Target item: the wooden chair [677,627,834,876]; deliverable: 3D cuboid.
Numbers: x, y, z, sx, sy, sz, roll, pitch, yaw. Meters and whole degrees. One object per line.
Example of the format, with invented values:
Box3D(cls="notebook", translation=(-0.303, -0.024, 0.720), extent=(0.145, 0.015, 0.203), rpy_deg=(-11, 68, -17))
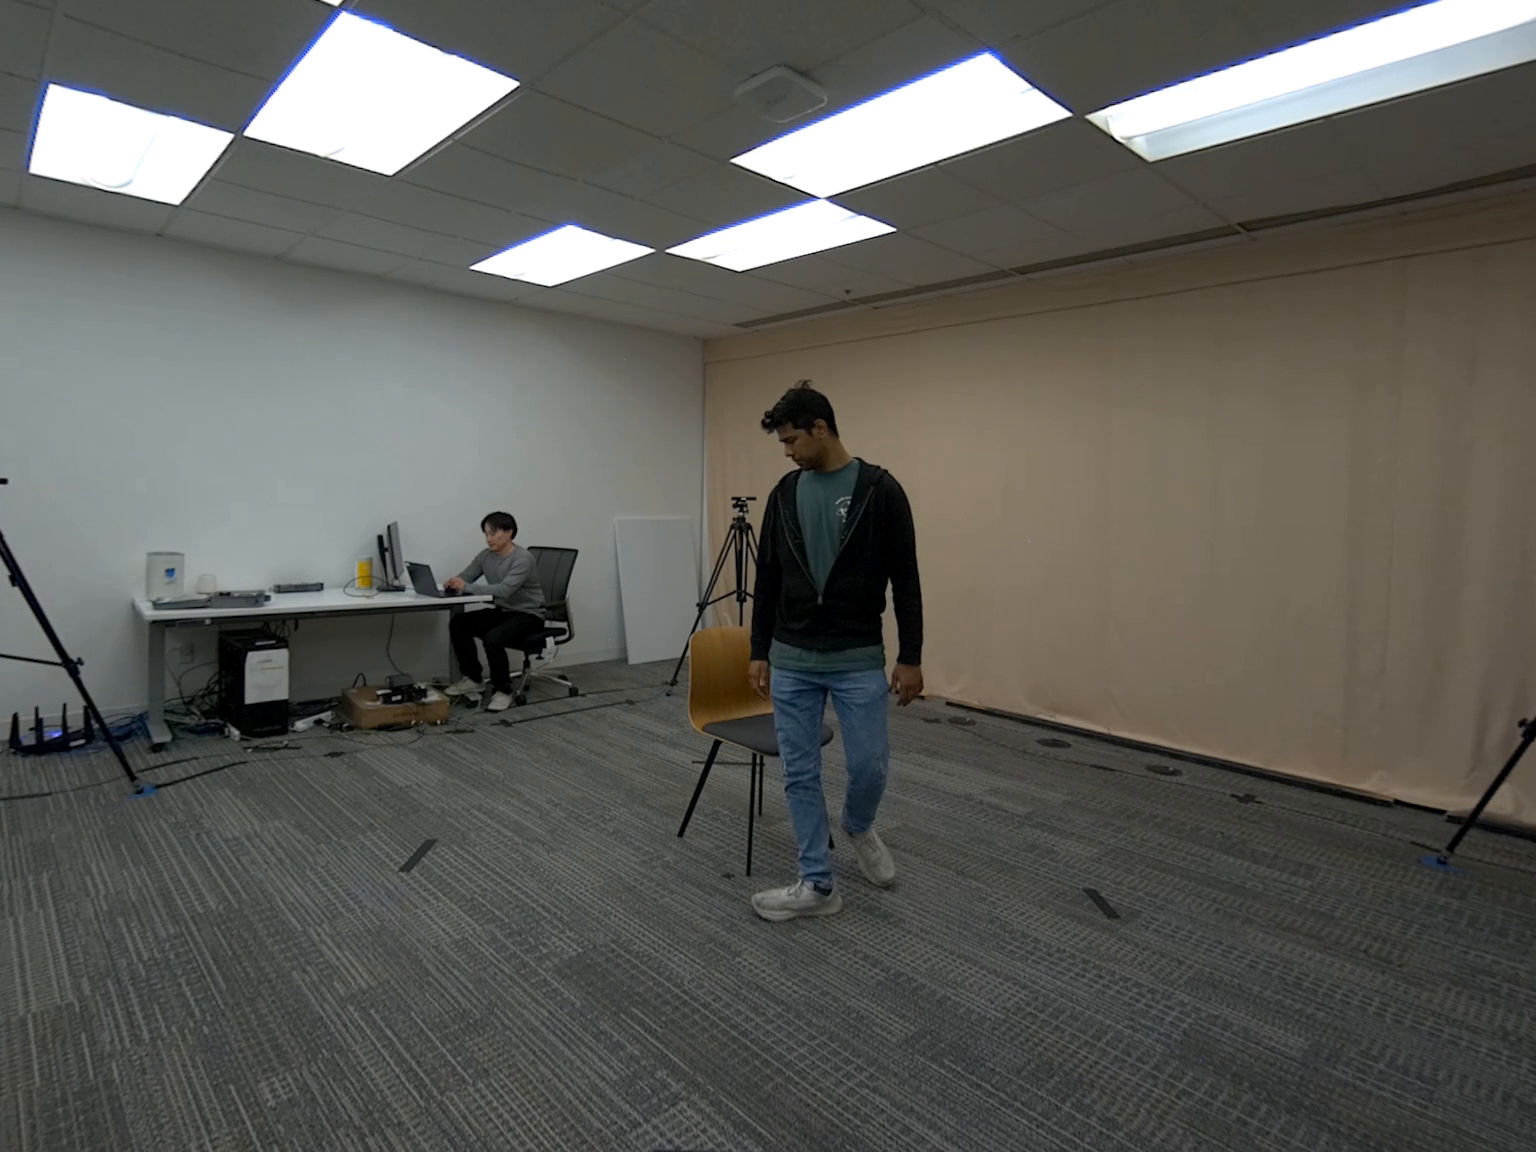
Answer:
Box3D(cls="wooden chair", translation=(-0.048, 0.658, 3.378), extent=(0.467, 0.878, 0.535), rpy_deg=(-1, 0, -40))
